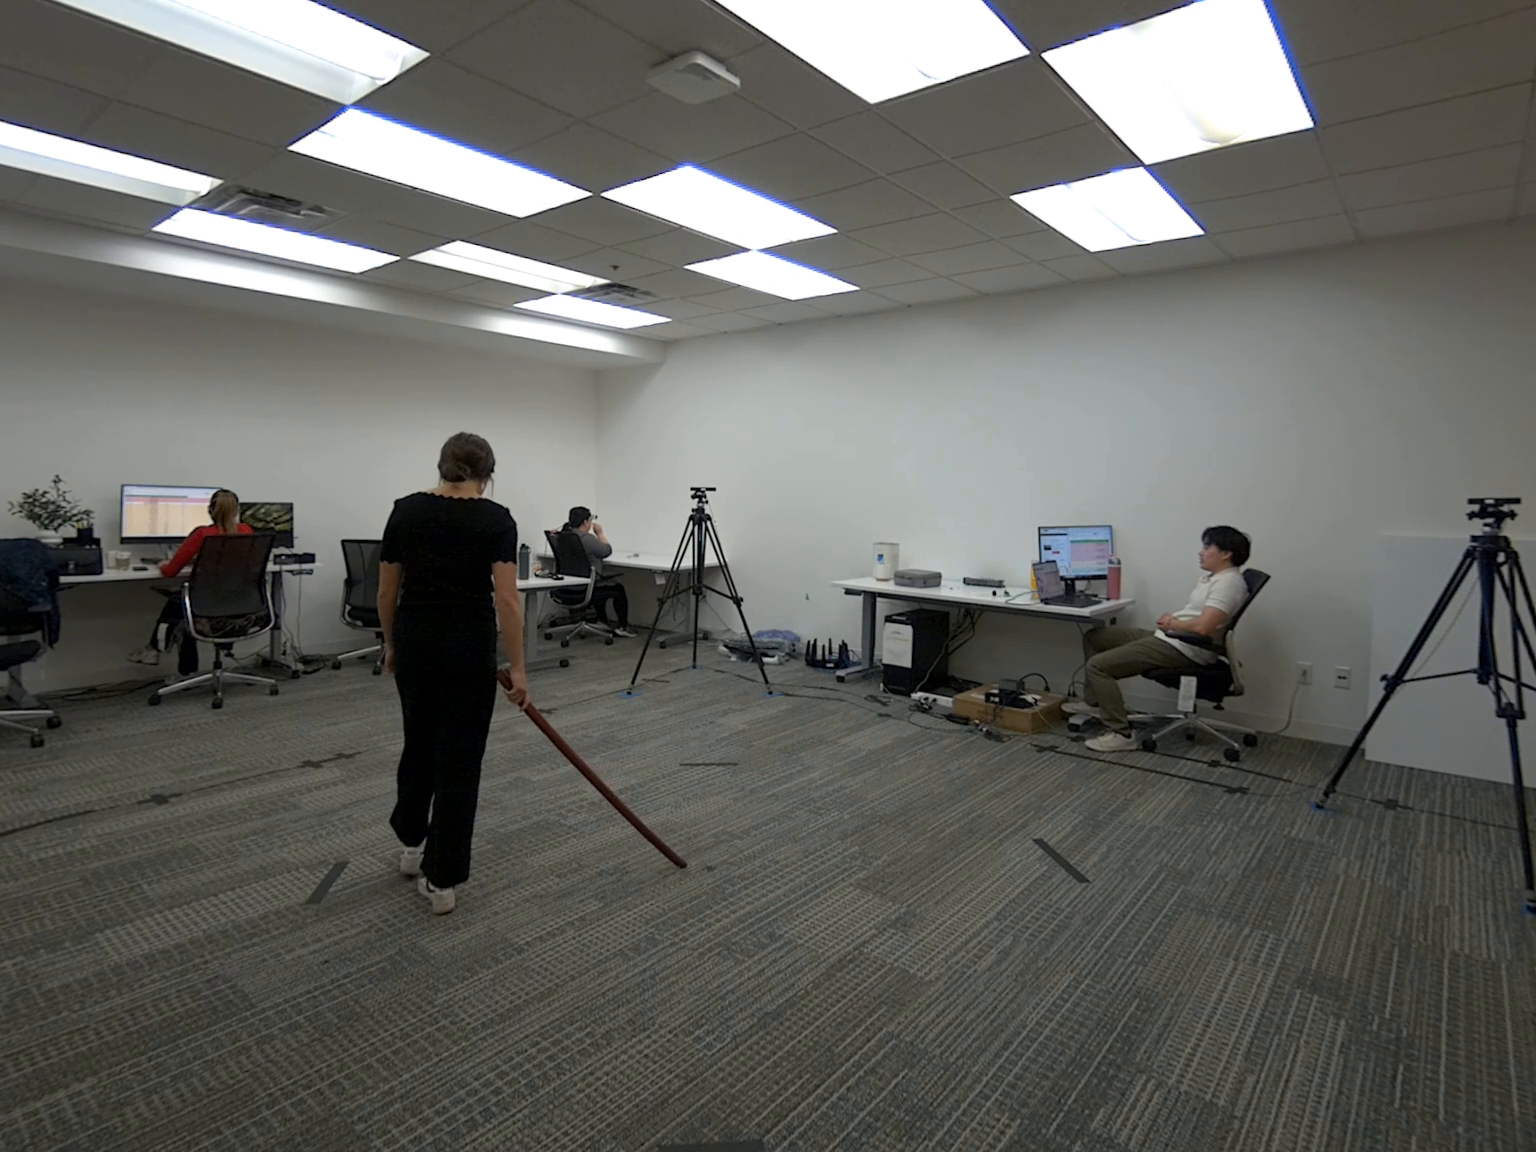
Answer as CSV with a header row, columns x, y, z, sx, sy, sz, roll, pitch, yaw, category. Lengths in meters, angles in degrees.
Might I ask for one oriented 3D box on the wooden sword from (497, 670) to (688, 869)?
x,y,z,sx,sy,sz,roll,pitch,yaw,category
-0.623,0.710,2.951,0.051,0.998,0.025,-43,20,-5,wooden sword
